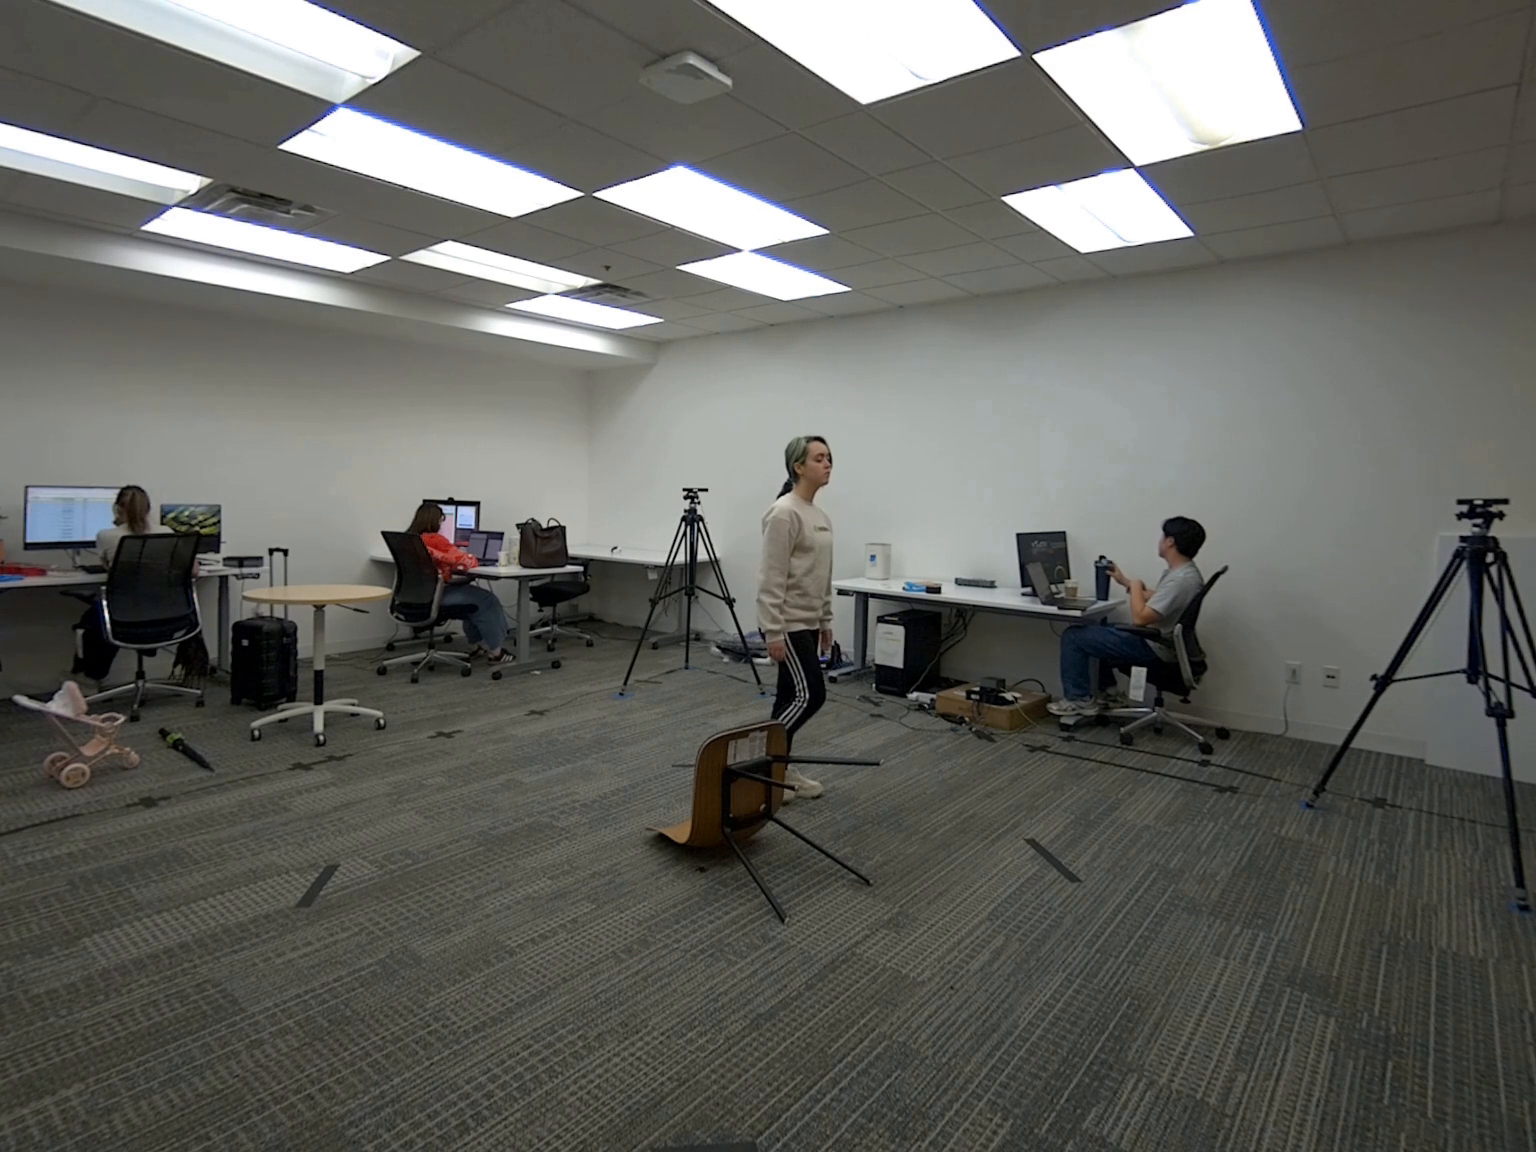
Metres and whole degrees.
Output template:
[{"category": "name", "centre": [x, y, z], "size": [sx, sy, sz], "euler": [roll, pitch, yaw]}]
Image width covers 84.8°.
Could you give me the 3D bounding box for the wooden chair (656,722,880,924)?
[{"category": "wooden chair", "centre": [-0.080, 0.808, 3.163], "size": [0.463, 0.522, 0.907], "euler": [-2, 5, -43]}]
